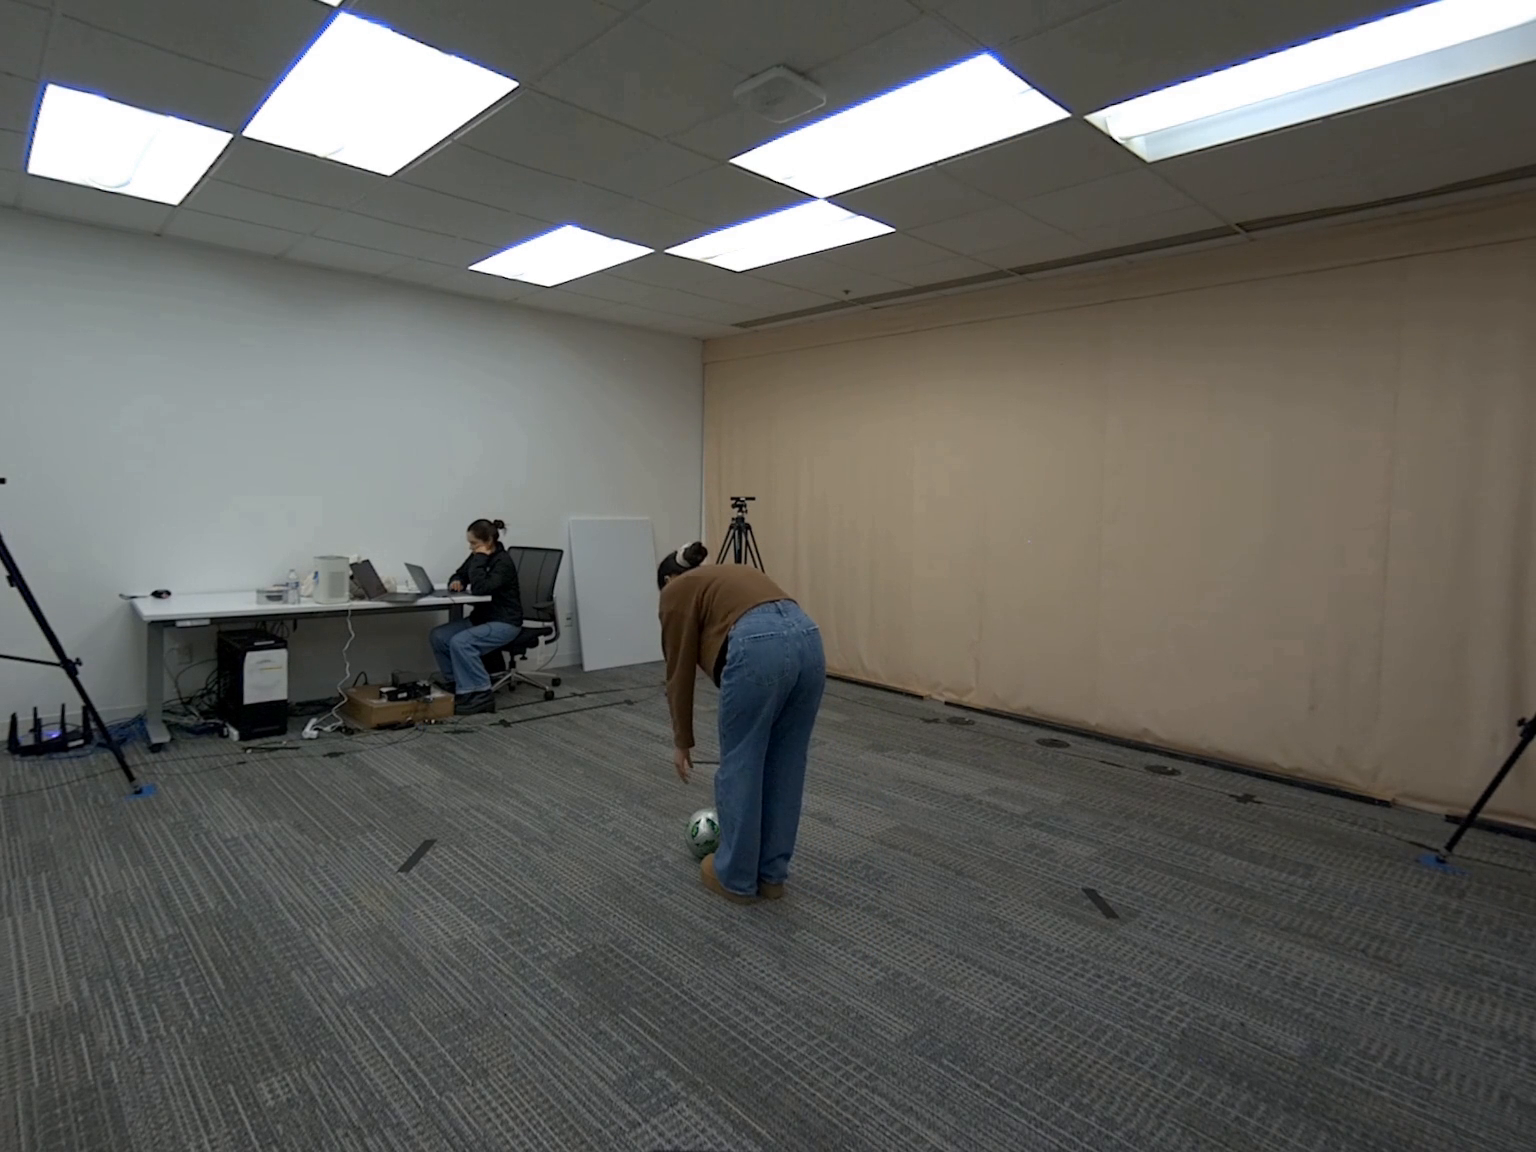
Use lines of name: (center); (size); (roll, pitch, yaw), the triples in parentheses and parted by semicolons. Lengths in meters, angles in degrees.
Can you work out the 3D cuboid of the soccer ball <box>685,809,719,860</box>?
soccer ball: (-0.240, 0.994, 3.255); (0.187, 0.187, 0.188); (1, 4, -1)
